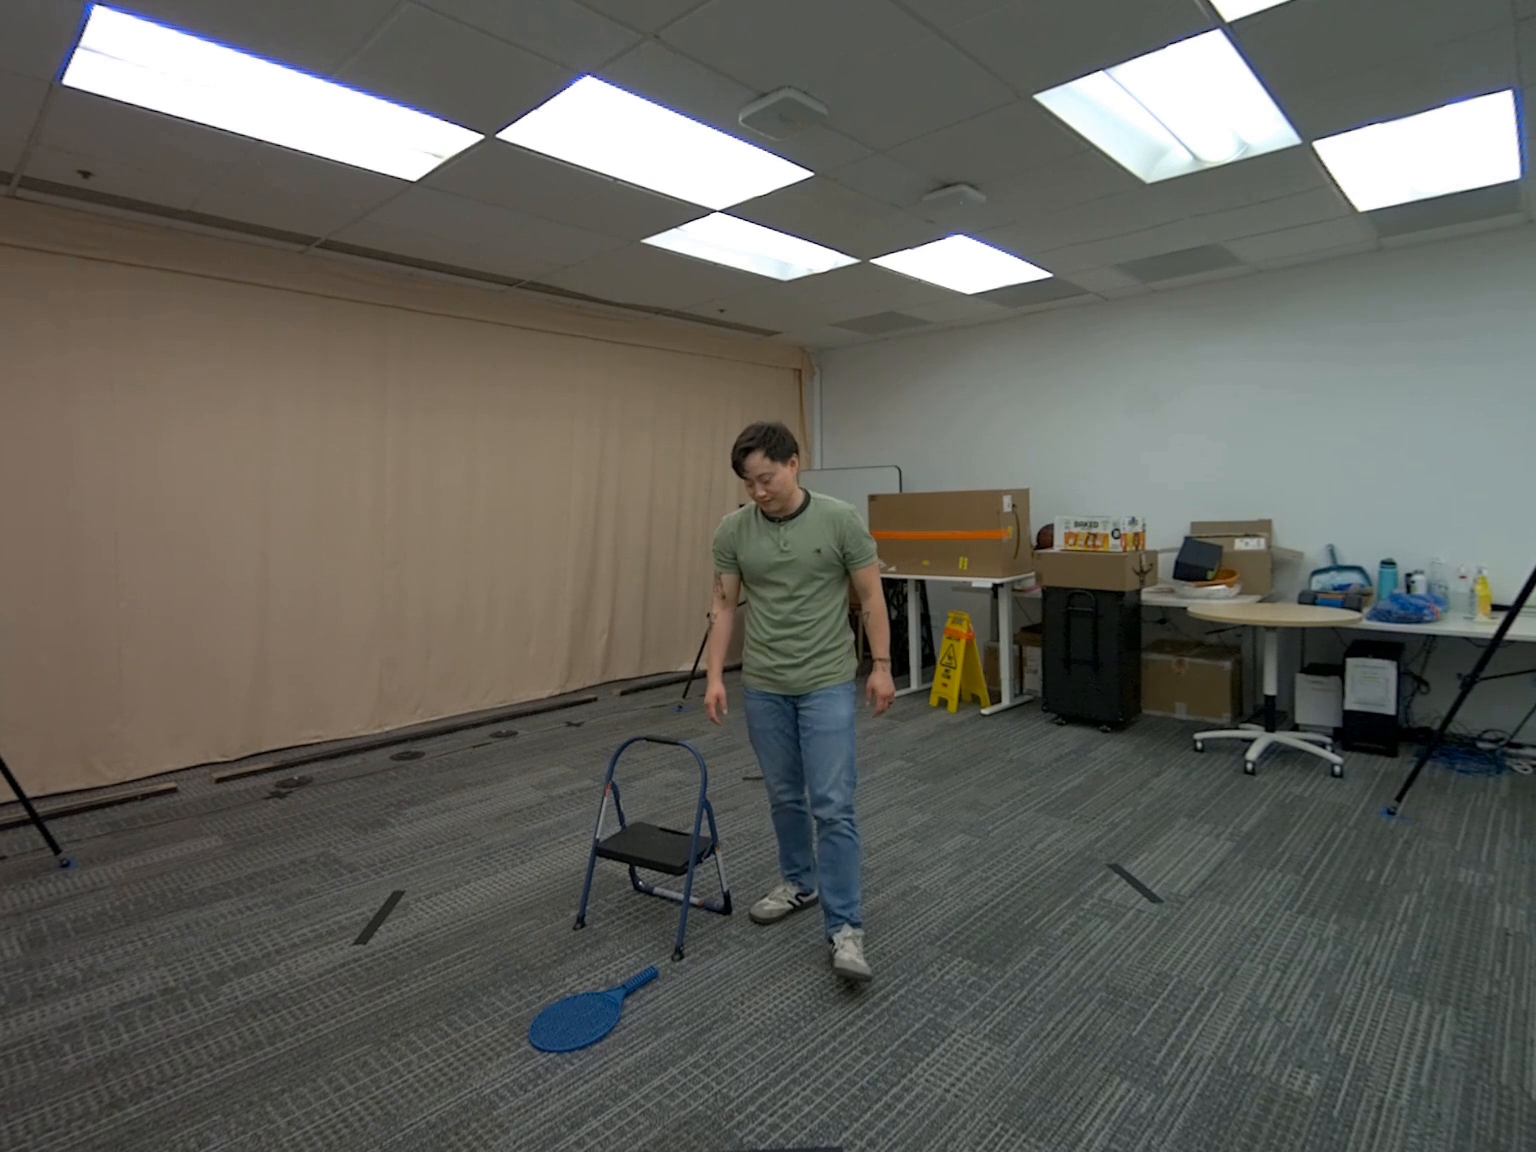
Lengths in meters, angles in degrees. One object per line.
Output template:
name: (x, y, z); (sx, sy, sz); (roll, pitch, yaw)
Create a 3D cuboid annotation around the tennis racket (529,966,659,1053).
tennis racket: (-0.461, 1.184, 2.337); (0.221, 0.031, 0.420); (4, 8, 41)
